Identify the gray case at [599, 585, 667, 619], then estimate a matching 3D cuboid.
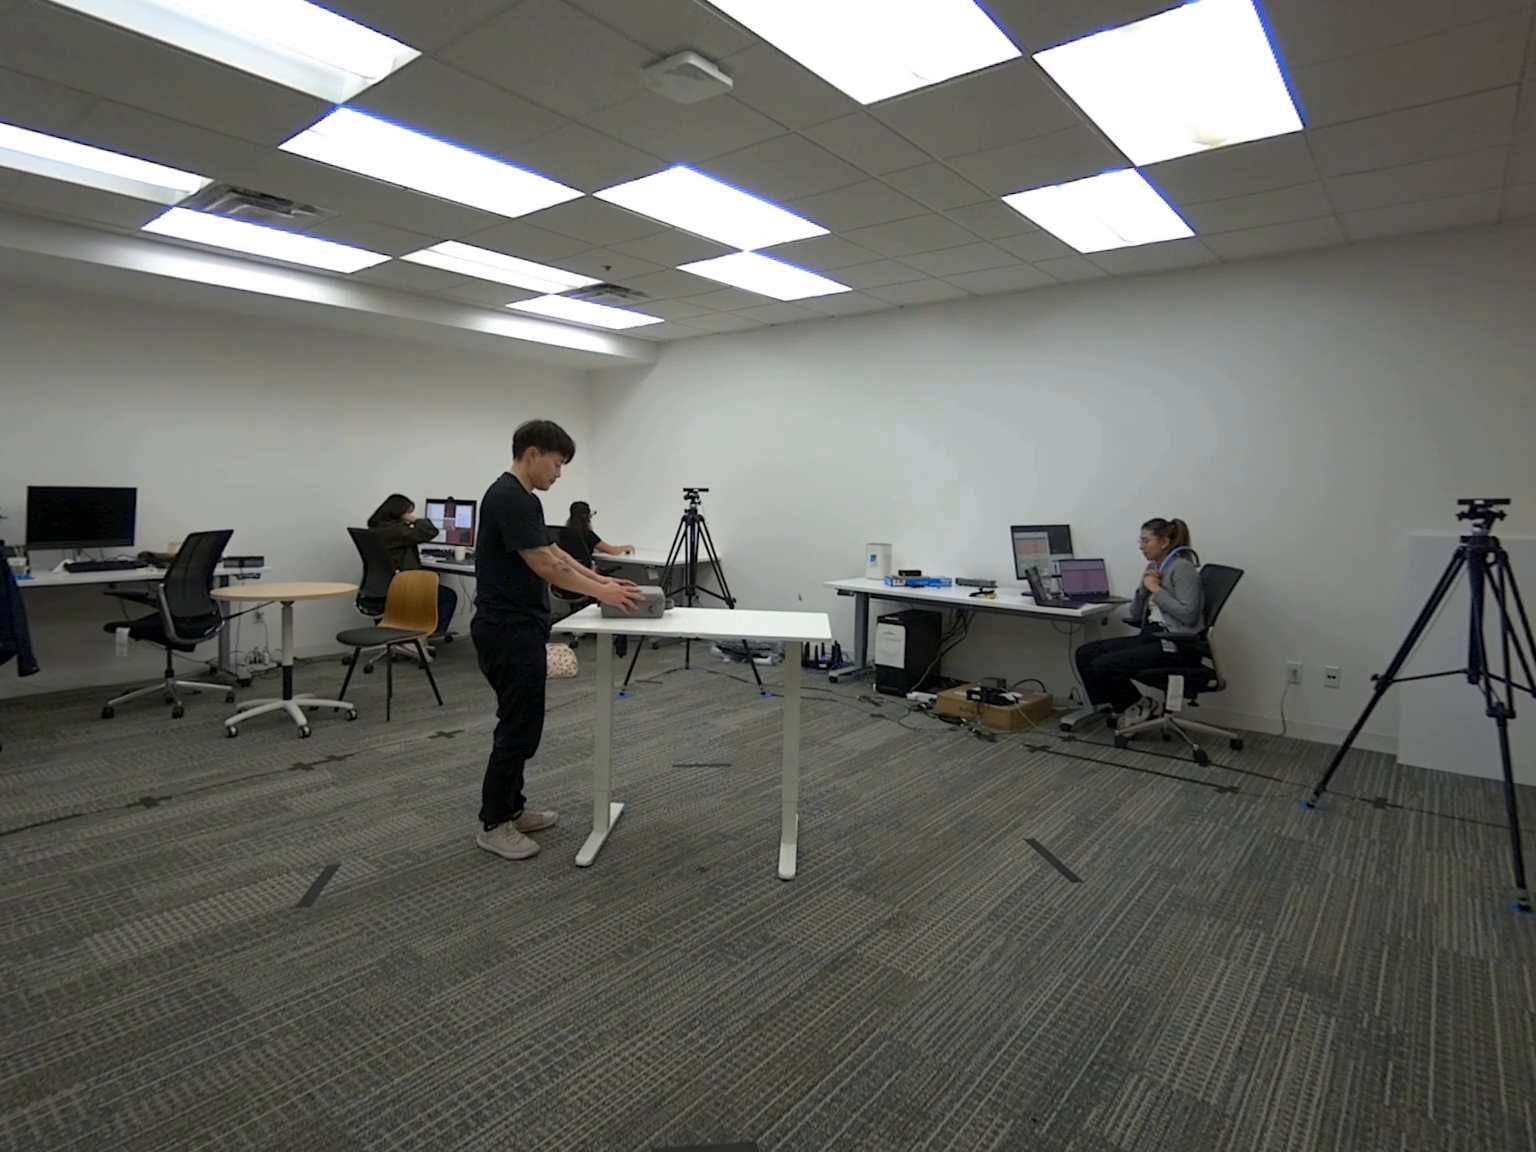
[{"bbox_3d":[-0.552,0.103,3.409,0.259,0.104,0.259,0,5,-6],"label":"gray case"}]
